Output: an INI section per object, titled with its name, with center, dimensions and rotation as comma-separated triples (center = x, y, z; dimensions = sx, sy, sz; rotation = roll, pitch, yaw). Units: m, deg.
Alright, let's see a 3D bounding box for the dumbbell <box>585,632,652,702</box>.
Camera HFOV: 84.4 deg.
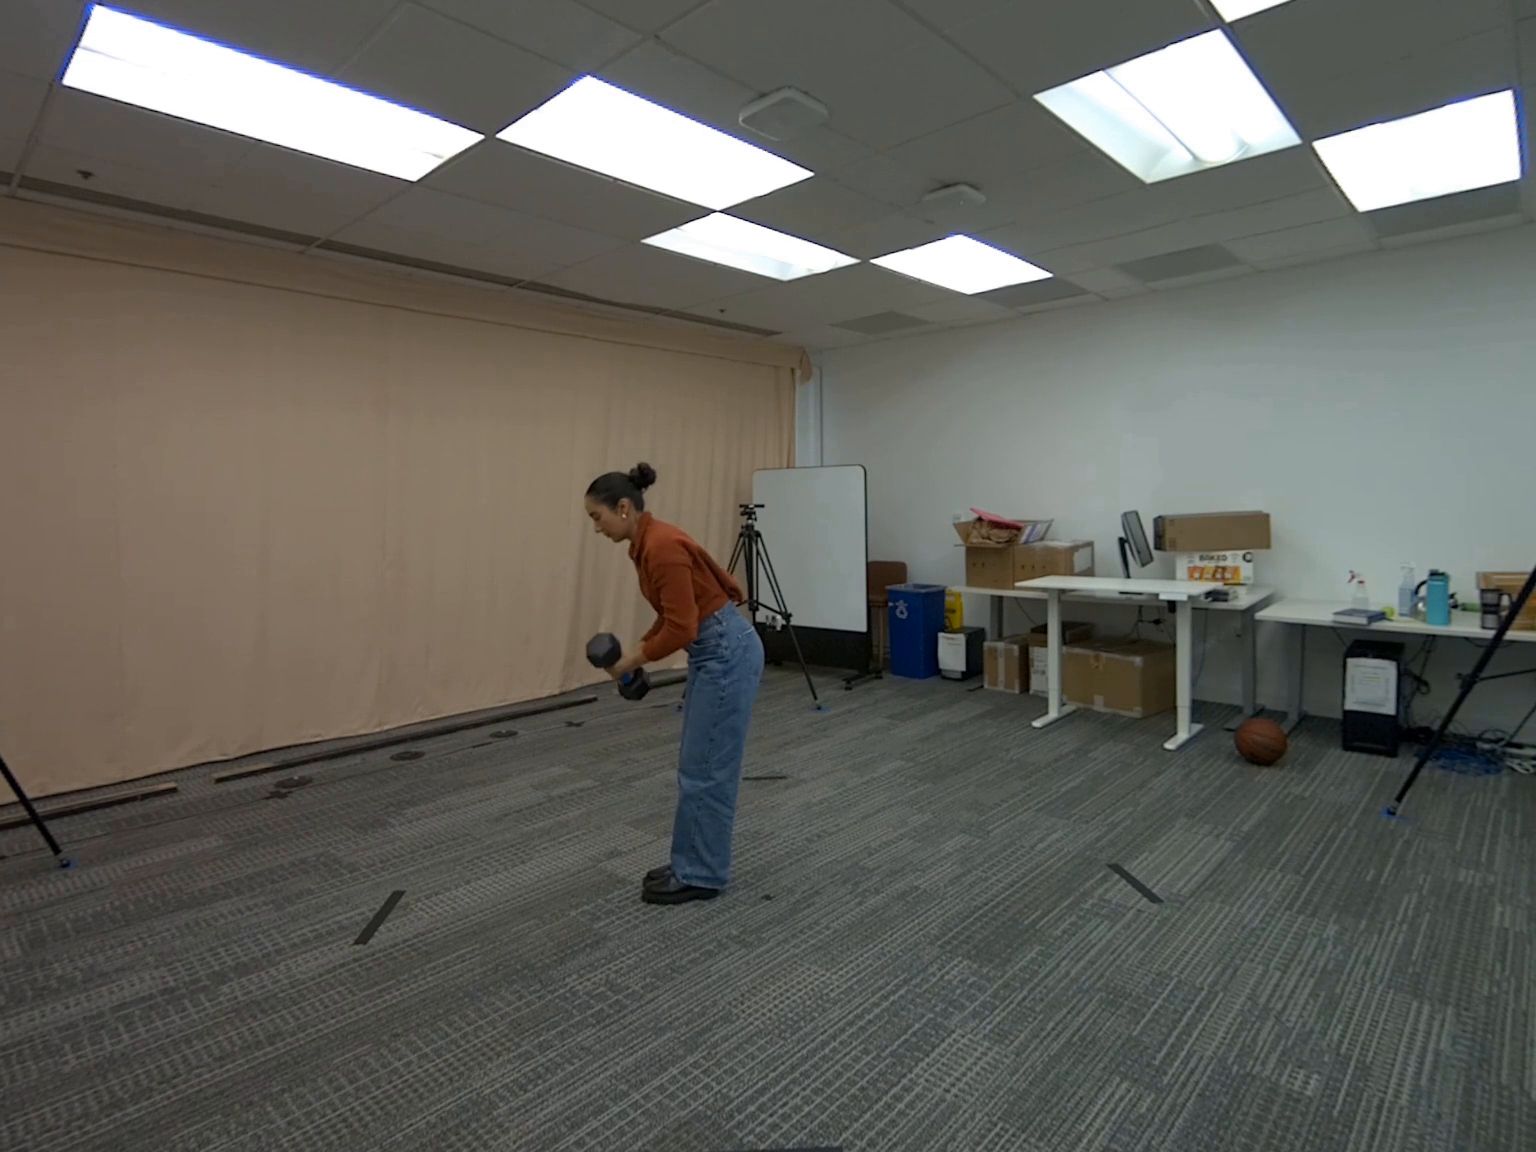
[dumbbell]
center = -0.530, 0.332, 2.996
dimensions = 0.122, 0.284, 0.113
rotation = -45, 42, -14
